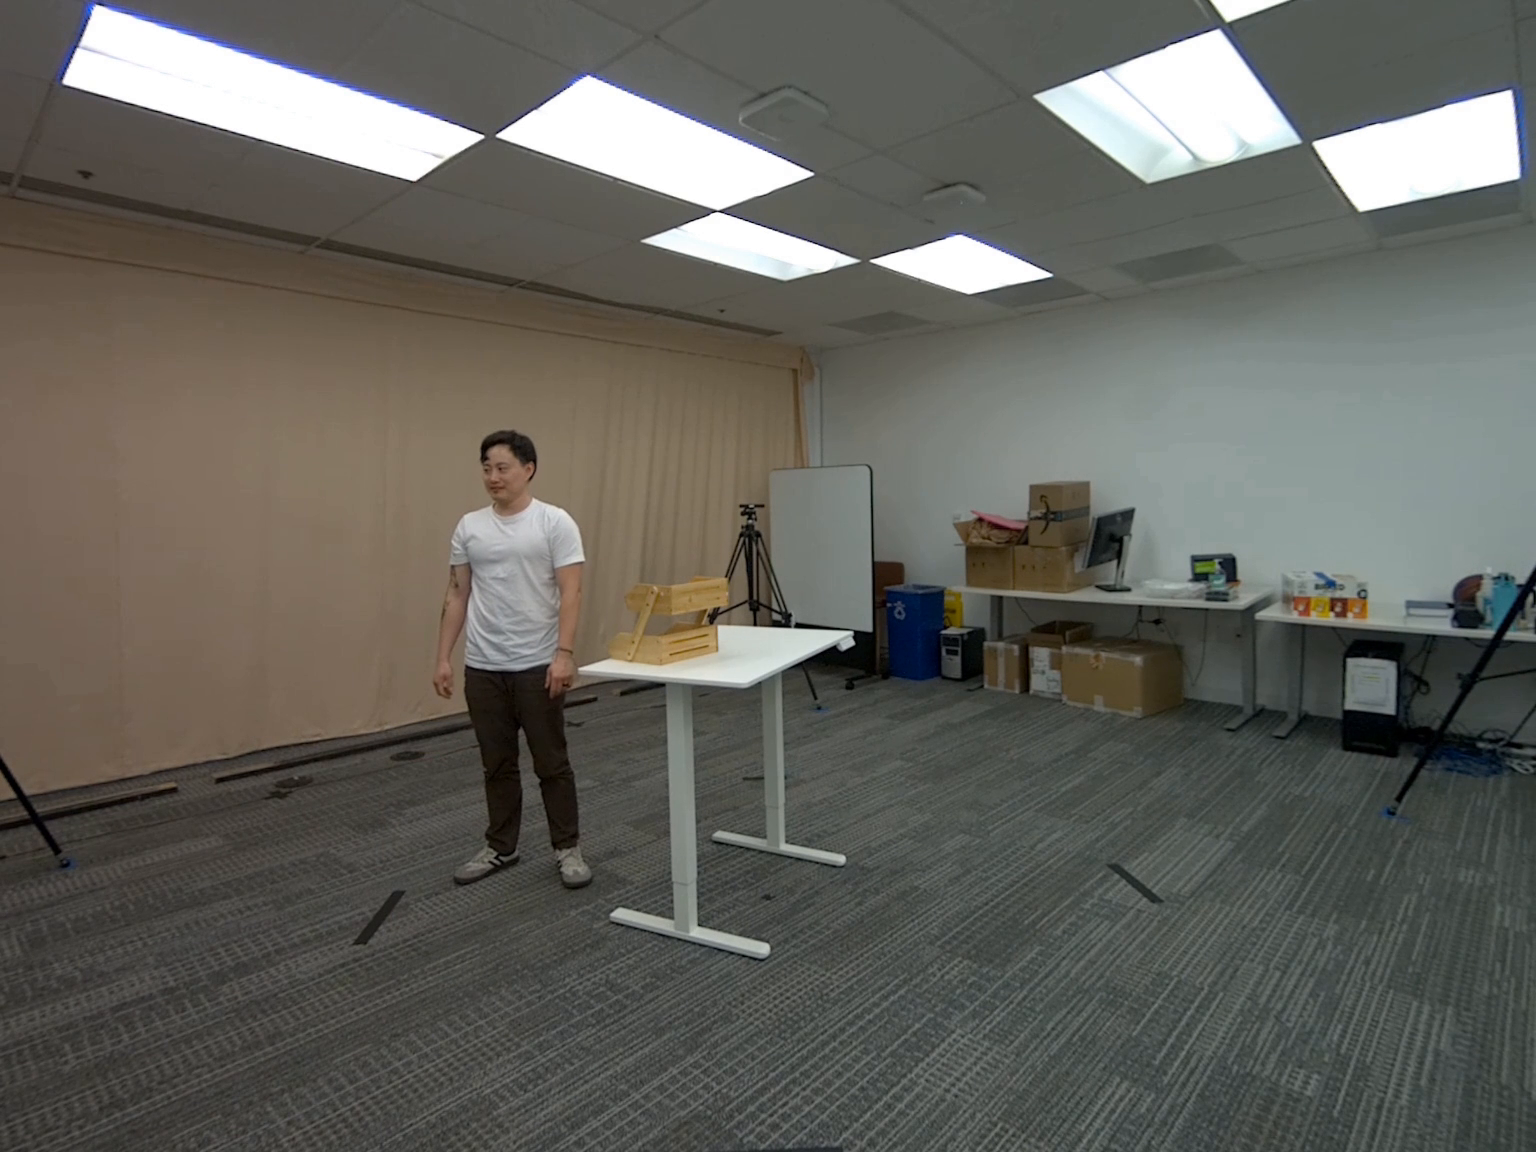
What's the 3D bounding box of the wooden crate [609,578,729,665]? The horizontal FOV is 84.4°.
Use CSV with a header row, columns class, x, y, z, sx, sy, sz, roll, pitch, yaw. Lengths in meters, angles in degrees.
class,x,y,z,sx,sy,sz,roll,pitch,yaw
wooden crate,-0.344,0.142,2.888,0.312,0.272,0.315,3,6,37
